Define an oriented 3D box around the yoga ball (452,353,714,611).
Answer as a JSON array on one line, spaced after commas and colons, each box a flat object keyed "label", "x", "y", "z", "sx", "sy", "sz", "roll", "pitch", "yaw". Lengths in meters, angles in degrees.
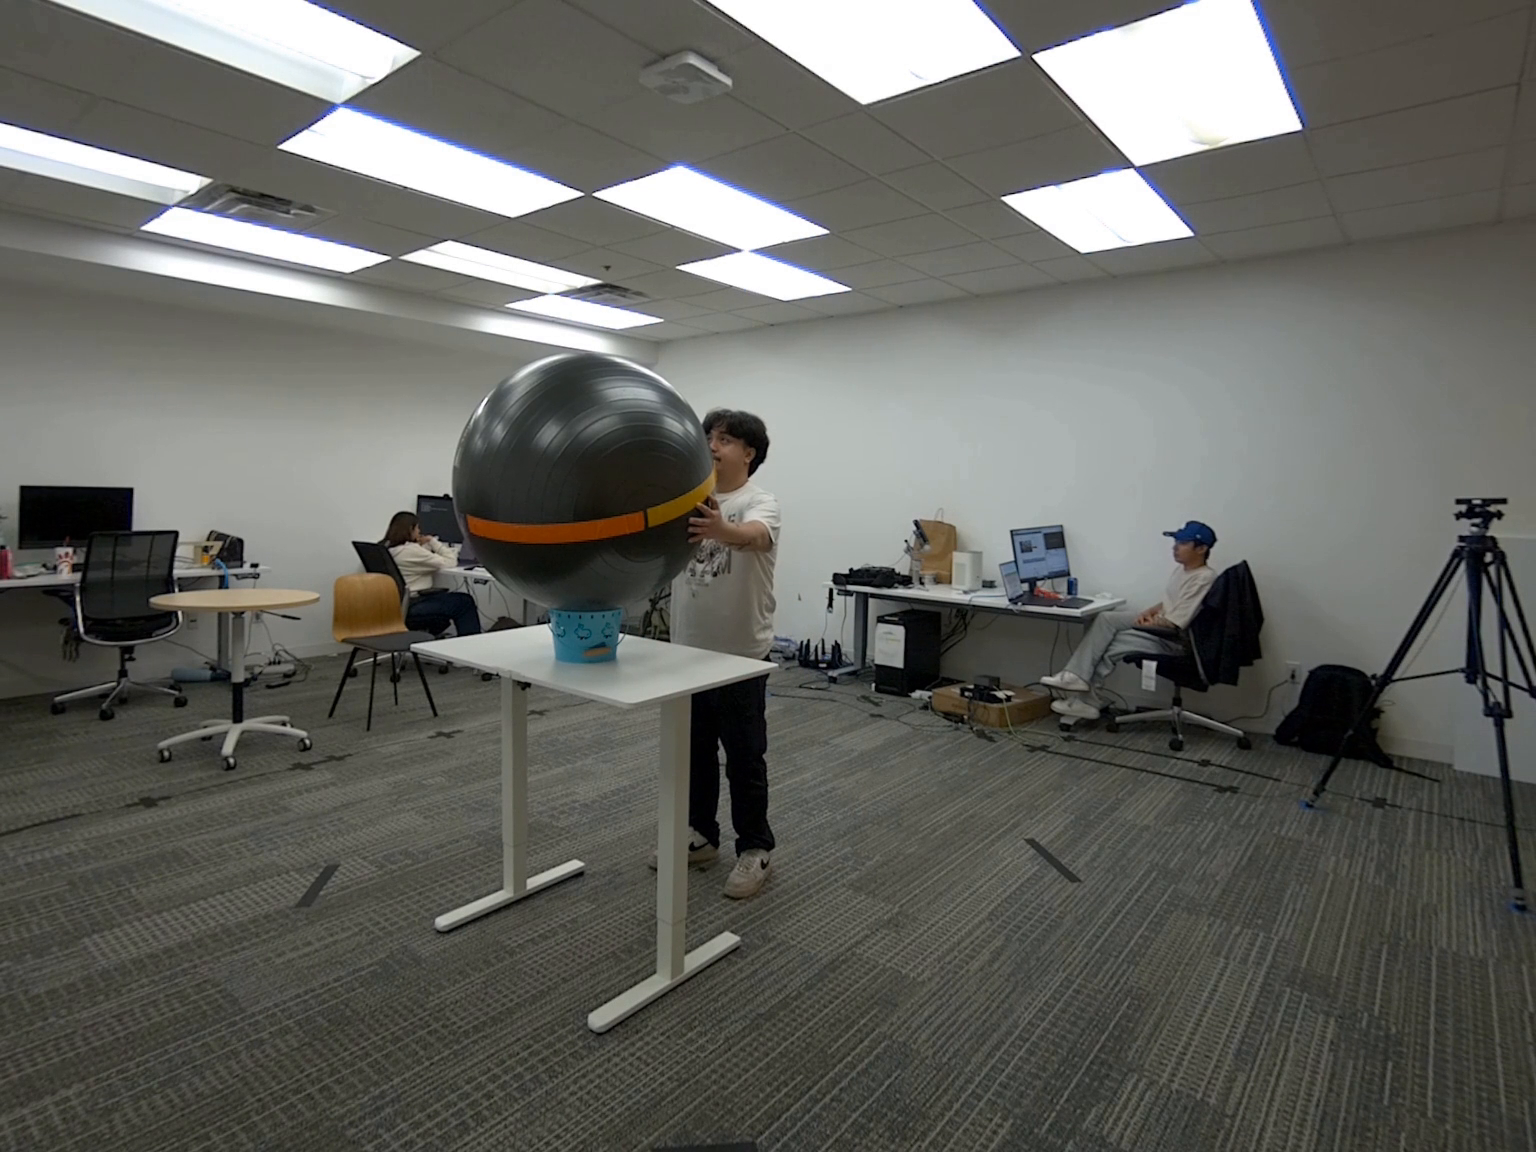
[{"label": "yoga ball", "x": -0.544, "y": -0.262, "z": 2.499, "sx": 0.757, "sy": 0.755, "sz": 0.762, "roll": 1, "pitch": 4, "yaw": -2}]
